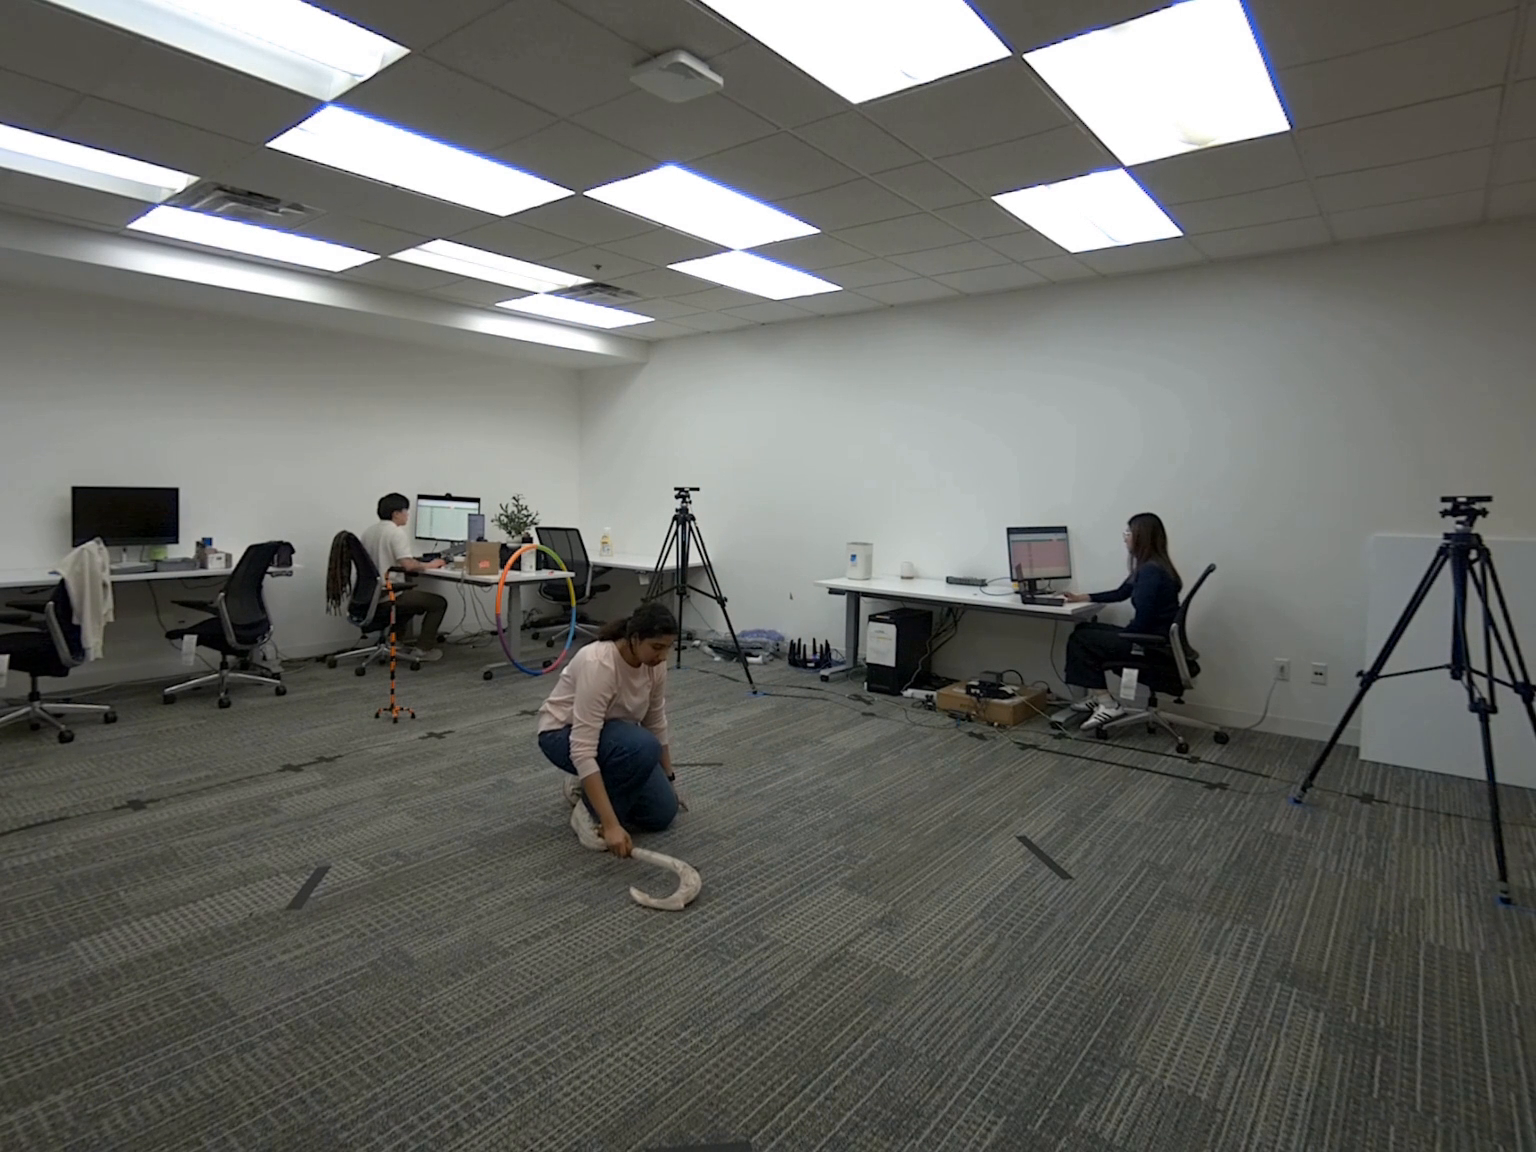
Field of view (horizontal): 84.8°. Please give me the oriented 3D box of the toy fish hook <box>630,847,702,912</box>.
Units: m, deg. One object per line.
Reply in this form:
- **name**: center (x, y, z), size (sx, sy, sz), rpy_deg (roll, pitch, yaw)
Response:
- **toy fish hook**: center (-0.469, 1.013, 2.956), size (0.525, 0.047, 0.220), rpy_deg (14, 24, 34)
